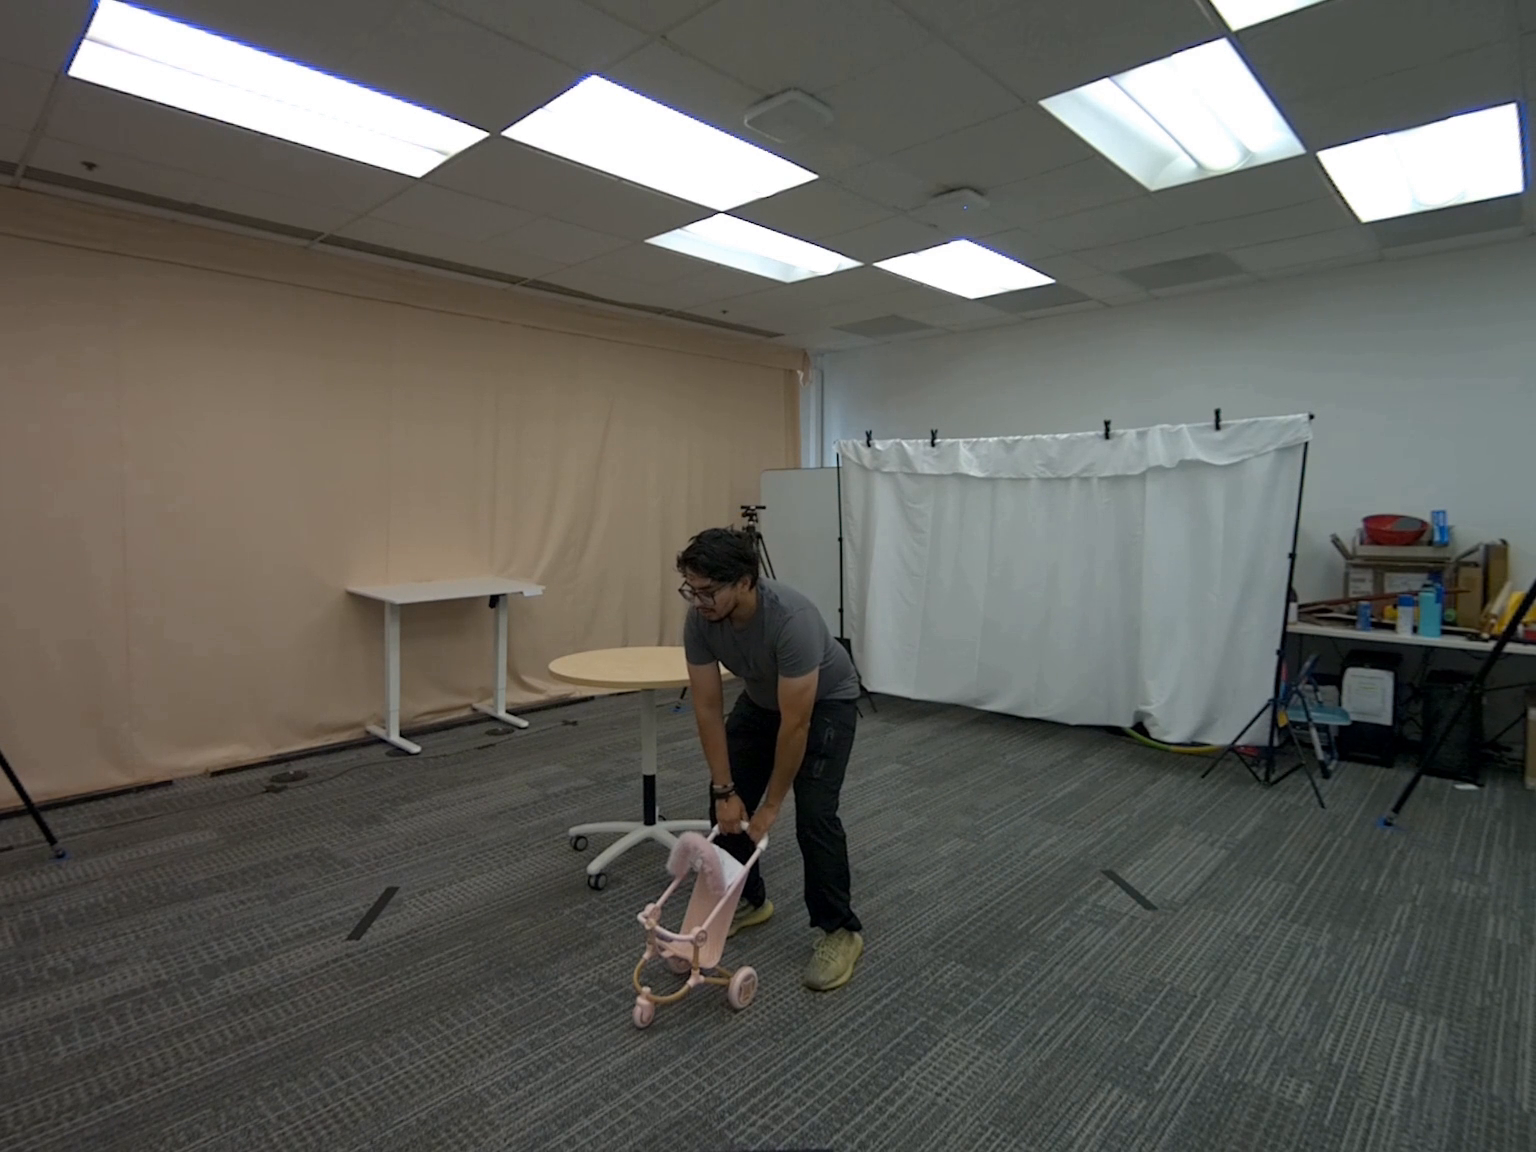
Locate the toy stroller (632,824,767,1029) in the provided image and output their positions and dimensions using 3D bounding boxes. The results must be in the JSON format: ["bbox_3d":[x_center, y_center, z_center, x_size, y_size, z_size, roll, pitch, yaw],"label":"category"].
[{"bbox_3d":[-0.206,0.968,2.369,0.329,0.536,0.291,16,-9,-41],"label":"toy stroller"}]
